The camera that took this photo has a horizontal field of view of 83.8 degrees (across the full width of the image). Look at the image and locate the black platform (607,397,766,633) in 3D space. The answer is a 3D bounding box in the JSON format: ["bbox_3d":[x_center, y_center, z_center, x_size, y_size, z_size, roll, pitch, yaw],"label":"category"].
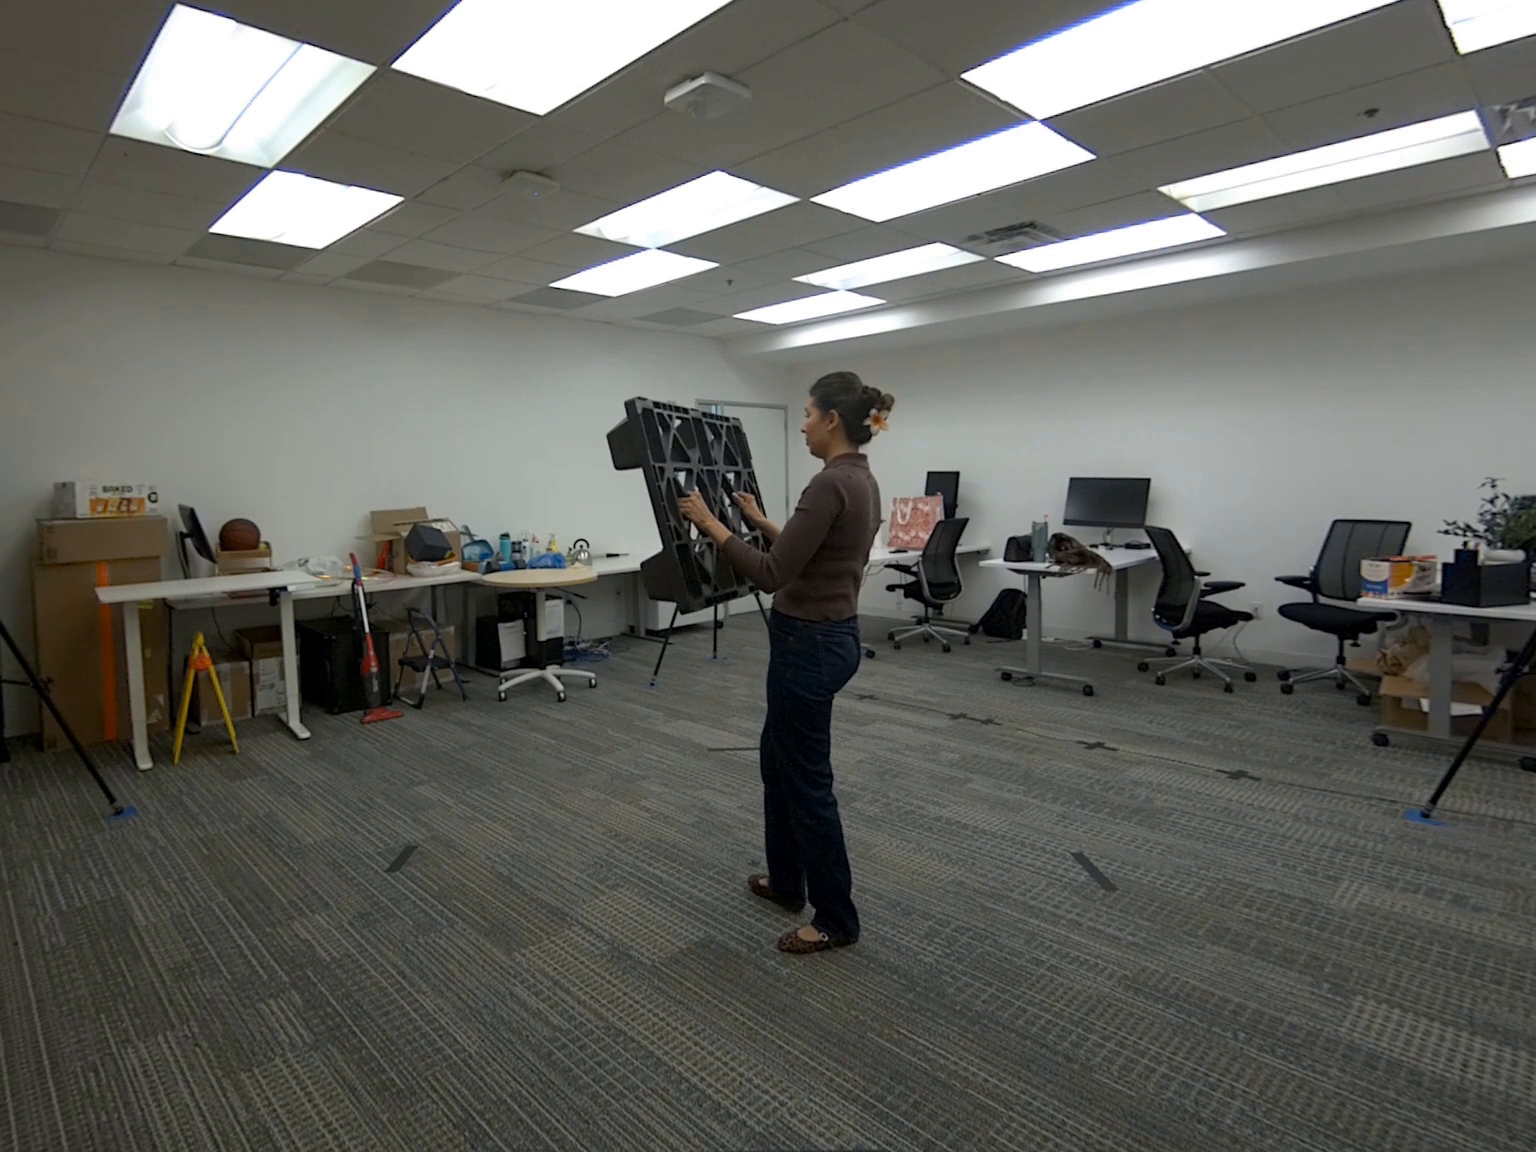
[{"bbox_3d":[-0.204,-0.217,2.647,0.145,0.607,0.793,-16,-1,20],"label":"black platform"}]
